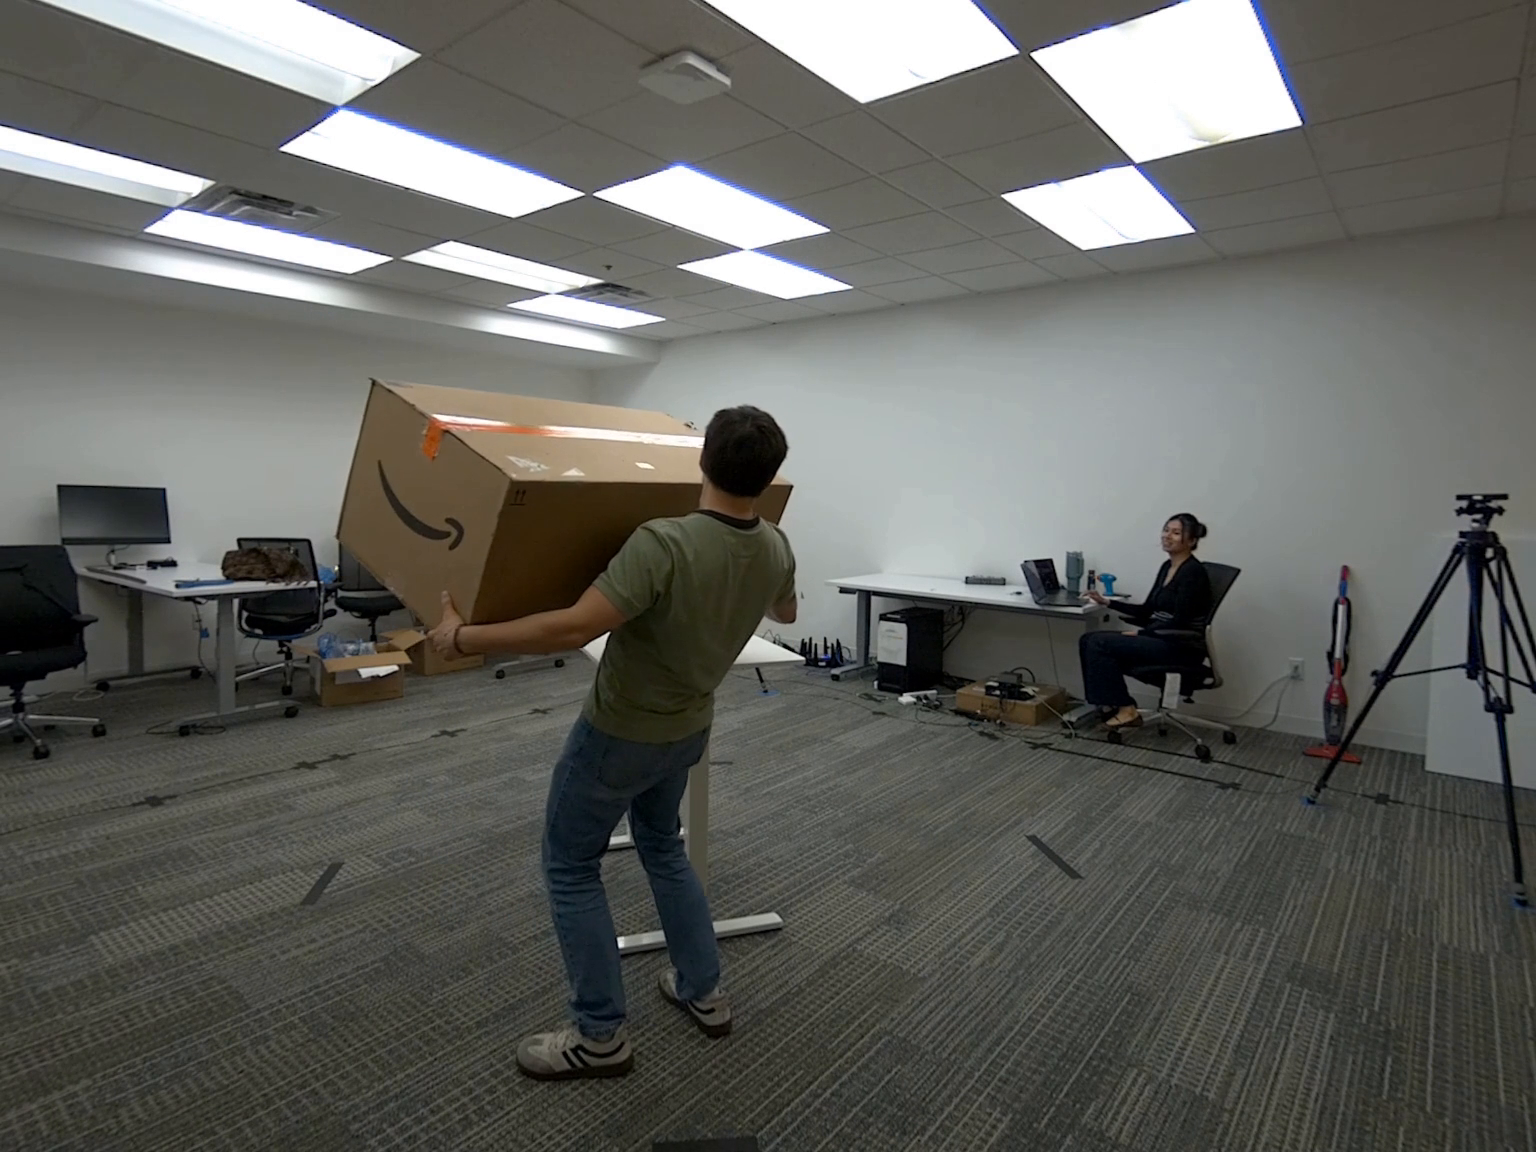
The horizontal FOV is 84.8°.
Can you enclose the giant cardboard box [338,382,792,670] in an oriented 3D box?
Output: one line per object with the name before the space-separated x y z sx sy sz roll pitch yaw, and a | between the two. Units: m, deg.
giant cardboard box | -0.509 -0.183 2.292 0.599 0.422 0.997 33 22 30
